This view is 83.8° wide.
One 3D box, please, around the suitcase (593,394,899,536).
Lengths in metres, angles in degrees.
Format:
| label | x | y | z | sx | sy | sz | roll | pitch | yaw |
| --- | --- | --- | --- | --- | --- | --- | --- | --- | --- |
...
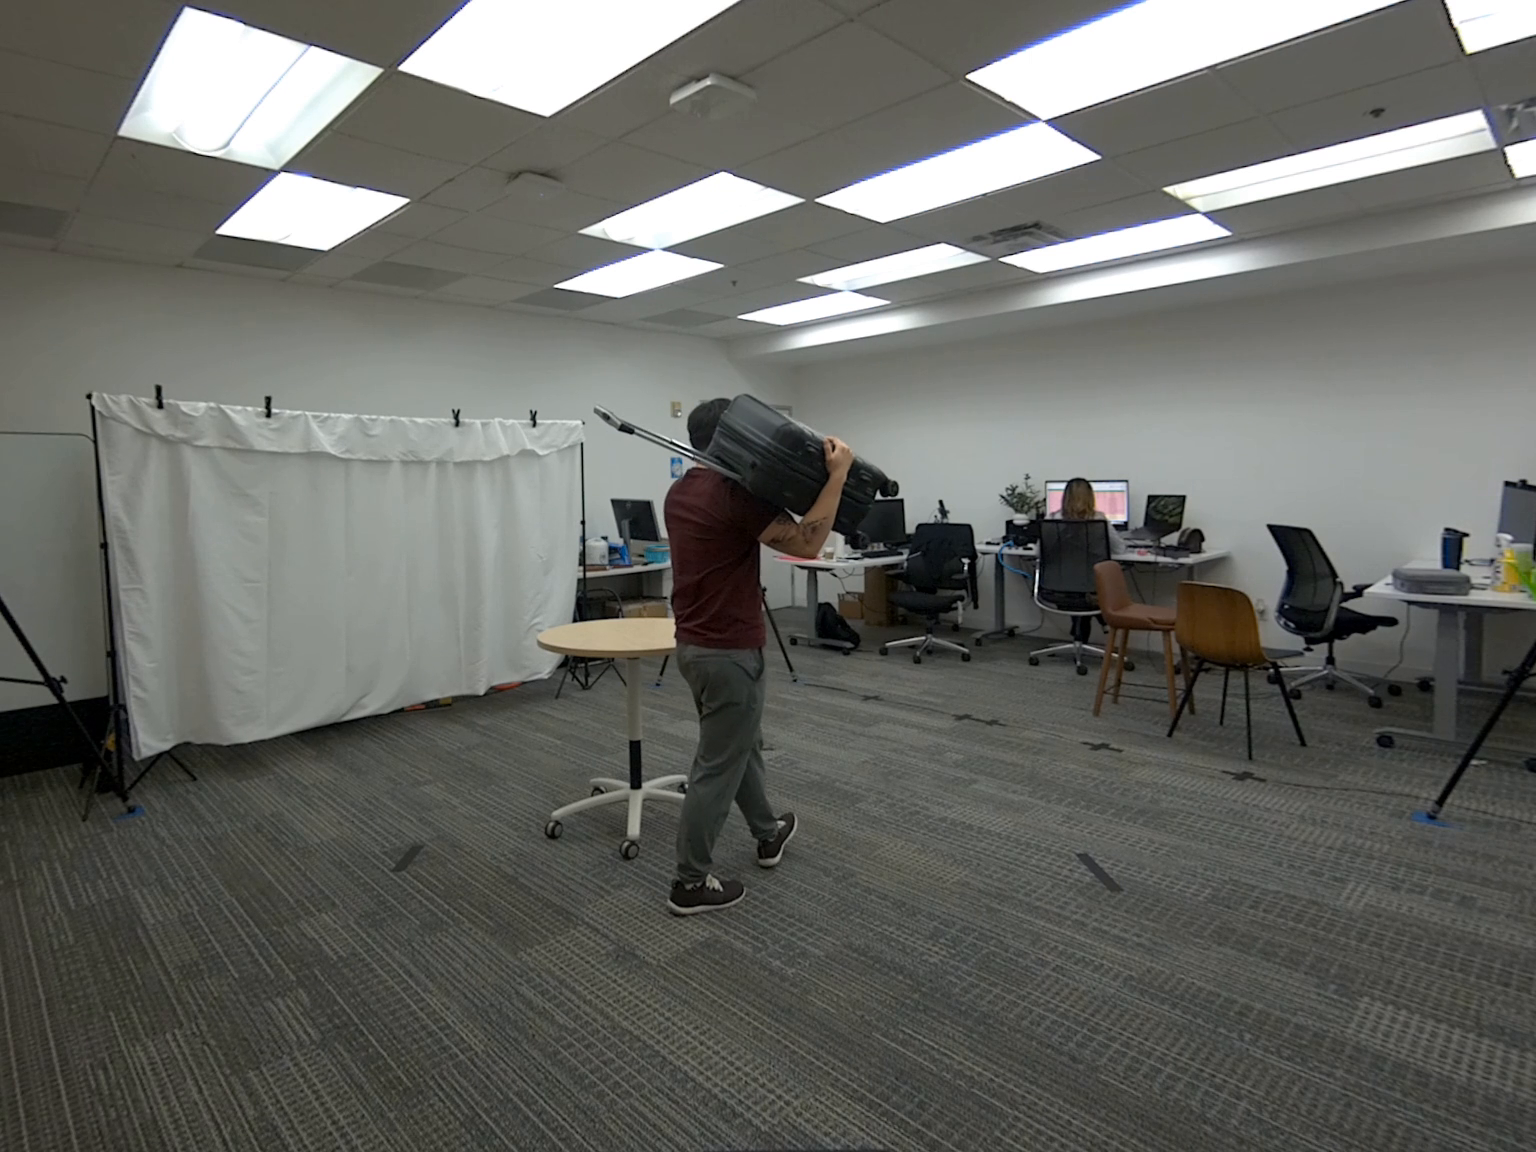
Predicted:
| label | x | y | z | sx | sy | sz | roll | pitch | yaw |
| --- | --- | --- | --- | --- | --- | --- | --- | --- | --- |
| suitcase | -0.037 | -0.398 | 2.574 | 0.943 | 0.256 | 0.399 | 22 | 13 | -42 |
